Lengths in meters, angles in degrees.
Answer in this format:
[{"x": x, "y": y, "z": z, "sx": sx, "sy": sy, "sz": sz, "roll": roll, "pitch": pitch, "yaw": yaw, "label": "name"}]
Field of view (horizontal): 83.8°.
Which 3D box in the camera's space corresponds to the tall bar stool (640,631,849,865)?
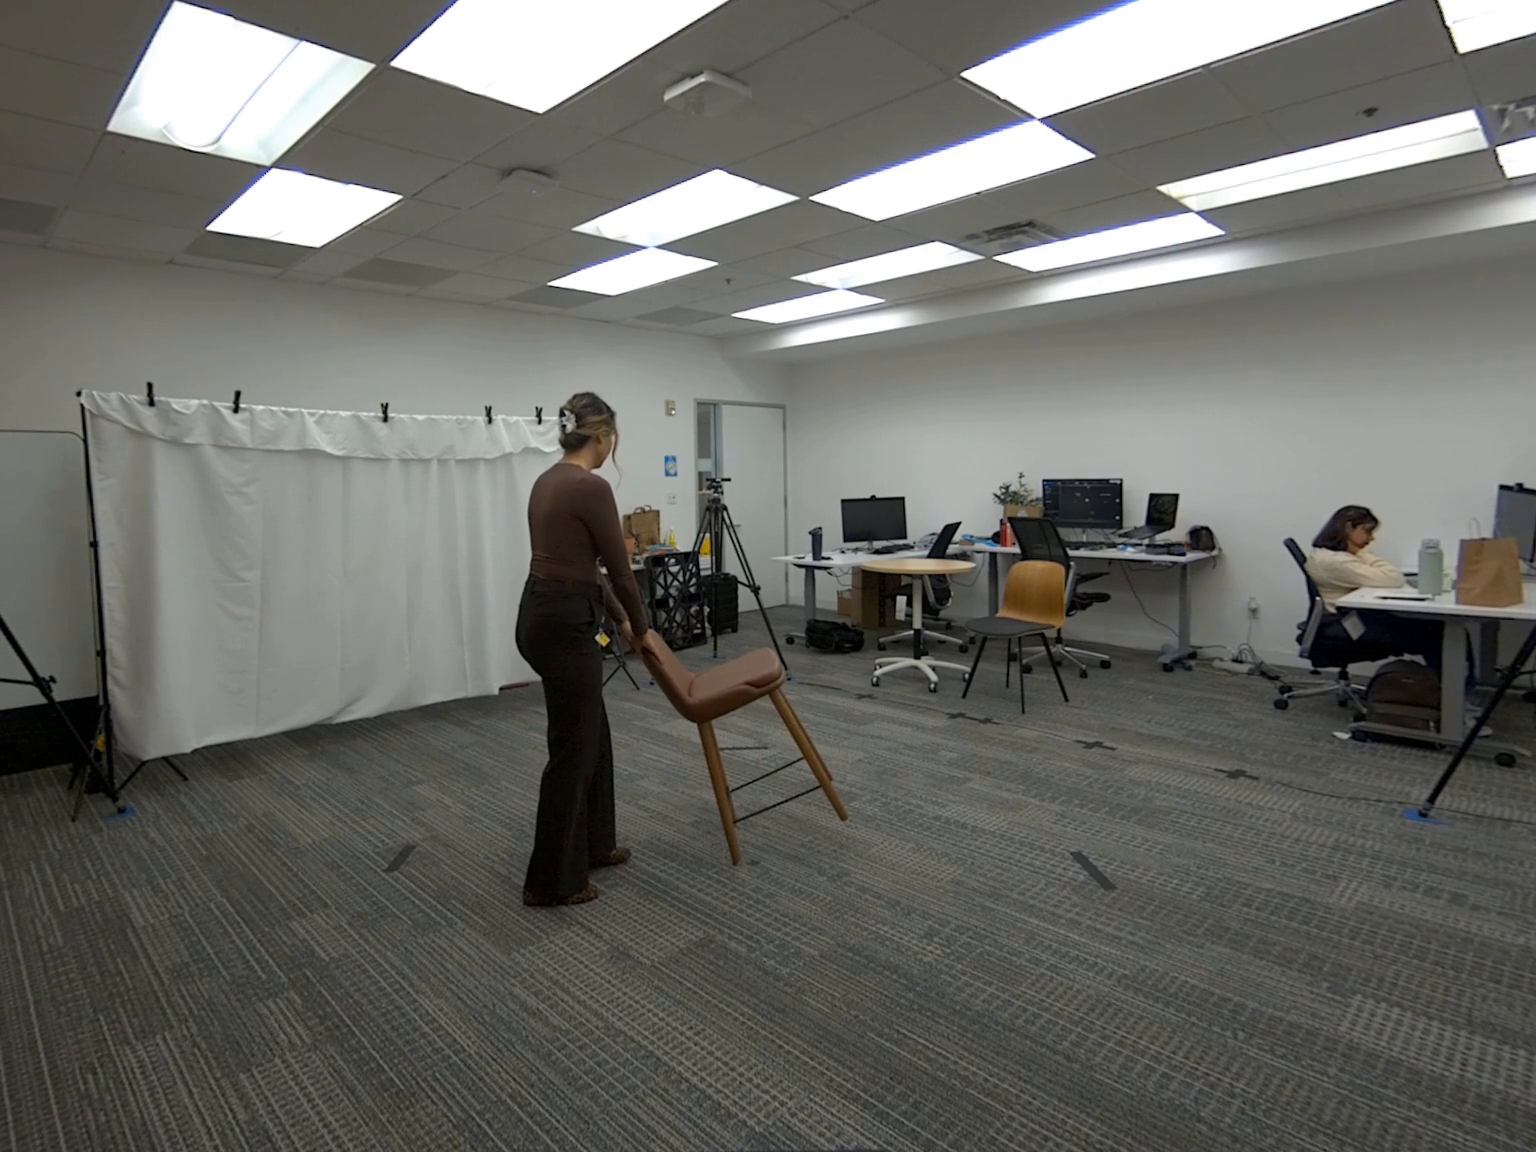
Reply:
[{"x": -0.109, "y": 0.543, "z": 3.247, "sx": 0.468, "sy": 0.885, "sz": 0.459, "roll": -25, "pitch": 4, "yaw": 0, "label": "tall bar stool"}]
